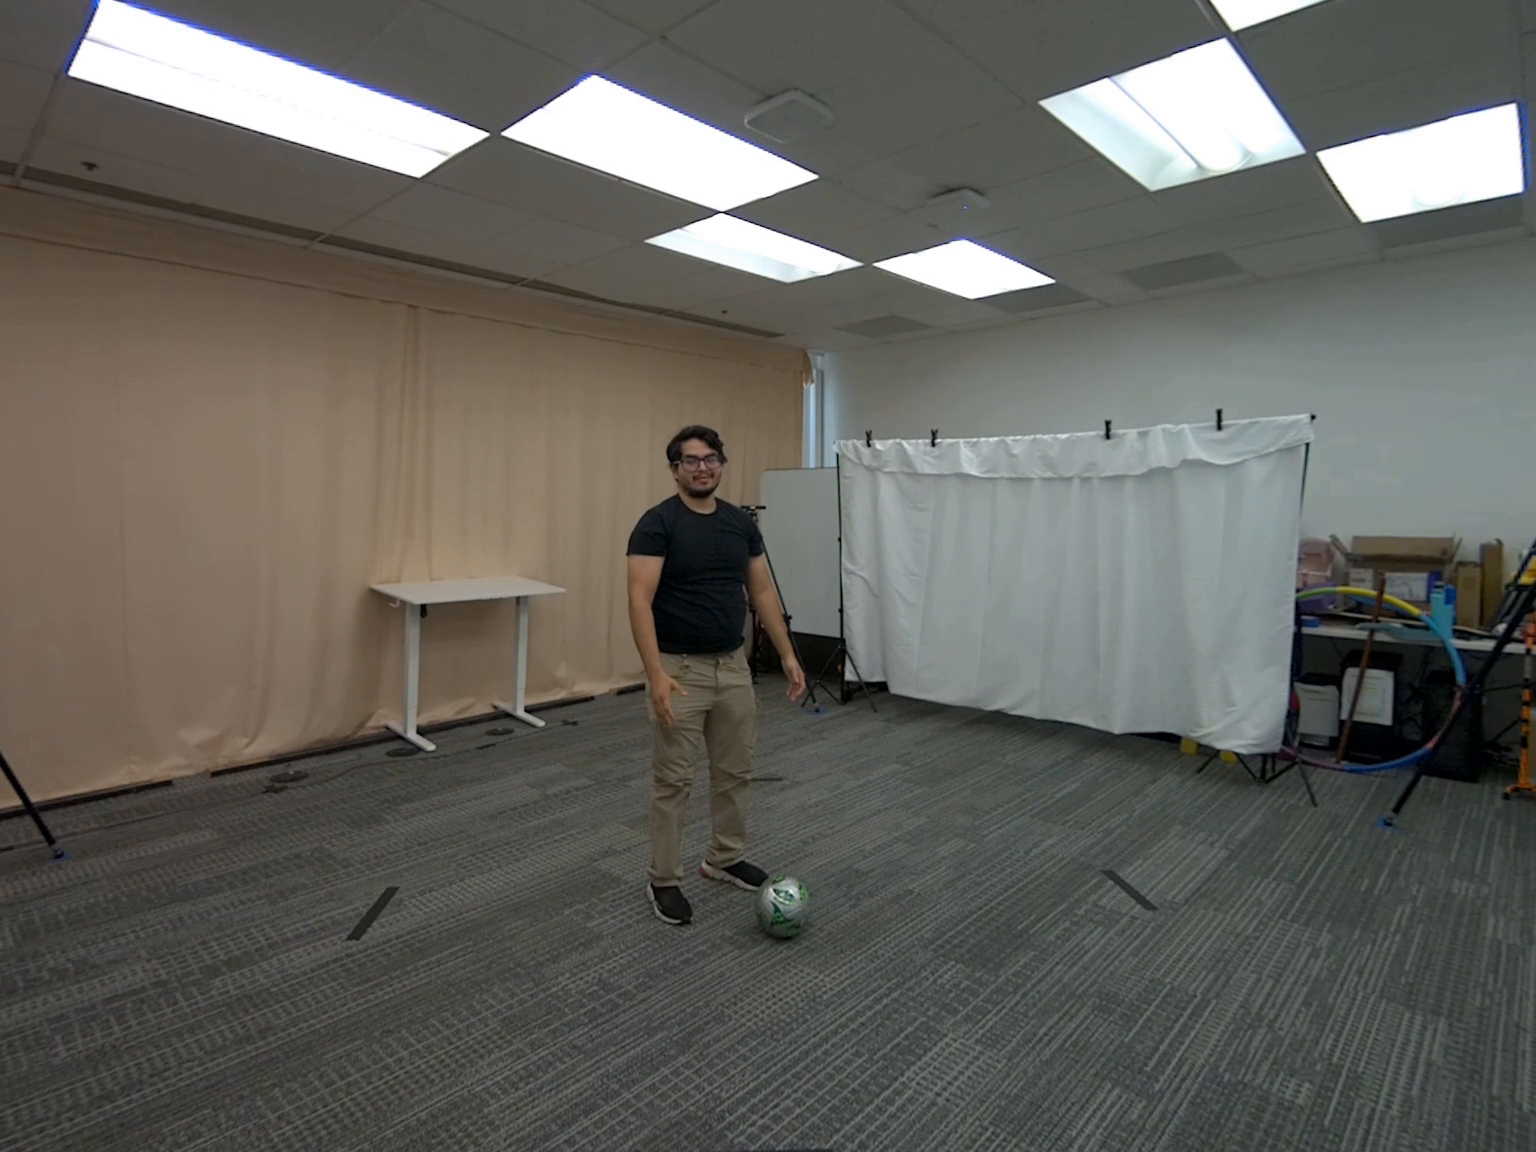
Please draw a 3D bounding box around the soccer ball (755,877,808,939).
[{"bbox_3d":[0.048,1.068,2.737,0.187,0.187,0.188,0,4,-2],"label":"soccer ball"}]
